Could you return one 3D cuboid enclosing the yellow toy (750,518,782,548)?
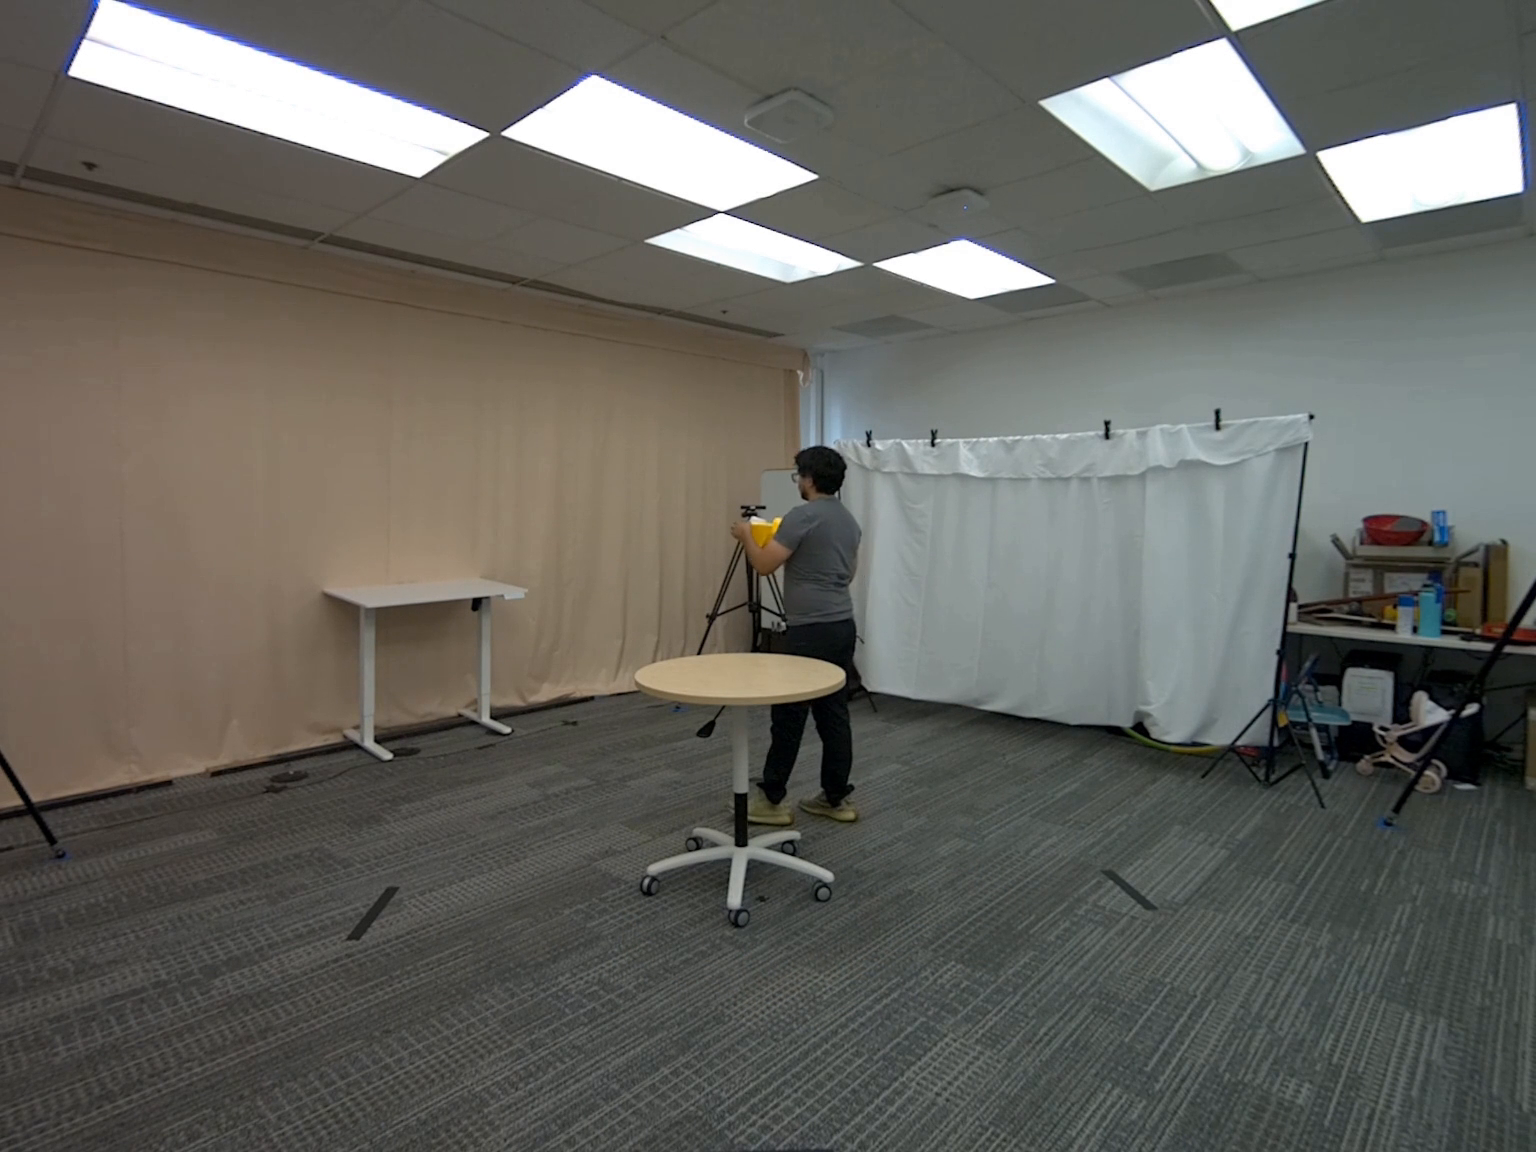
[{"bbox_3d":[-0.058,-0.210,3.991,0.227,0.204,0.196,22,28,-13],"label":"yellow toy"}]
